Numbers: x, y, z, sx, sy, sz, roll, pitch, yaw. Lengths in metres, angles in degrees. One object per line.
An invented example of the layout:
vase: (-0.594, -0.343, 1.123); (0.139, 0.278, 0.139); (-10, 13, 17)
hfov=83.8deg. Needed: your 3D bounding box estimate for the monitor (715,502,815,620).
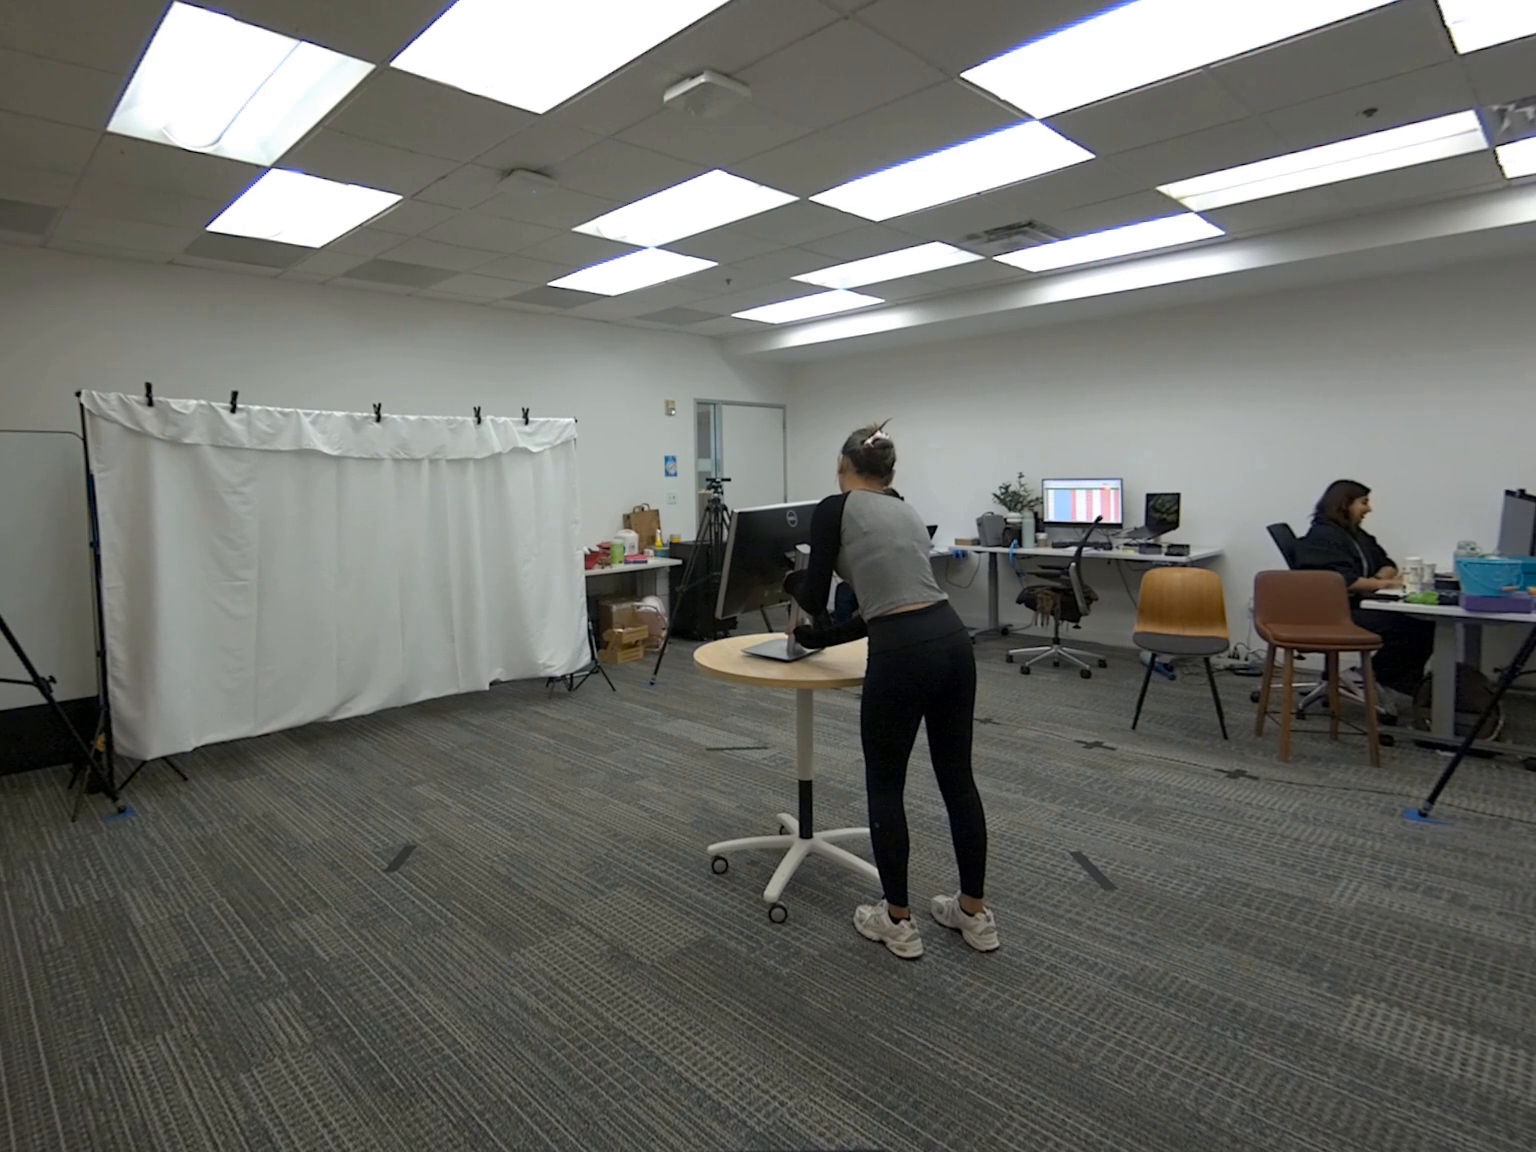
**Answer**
monitor: (0.066, 0.015, 2.912); (0.192, 0.520, 0.527); (2, 8, 35)
